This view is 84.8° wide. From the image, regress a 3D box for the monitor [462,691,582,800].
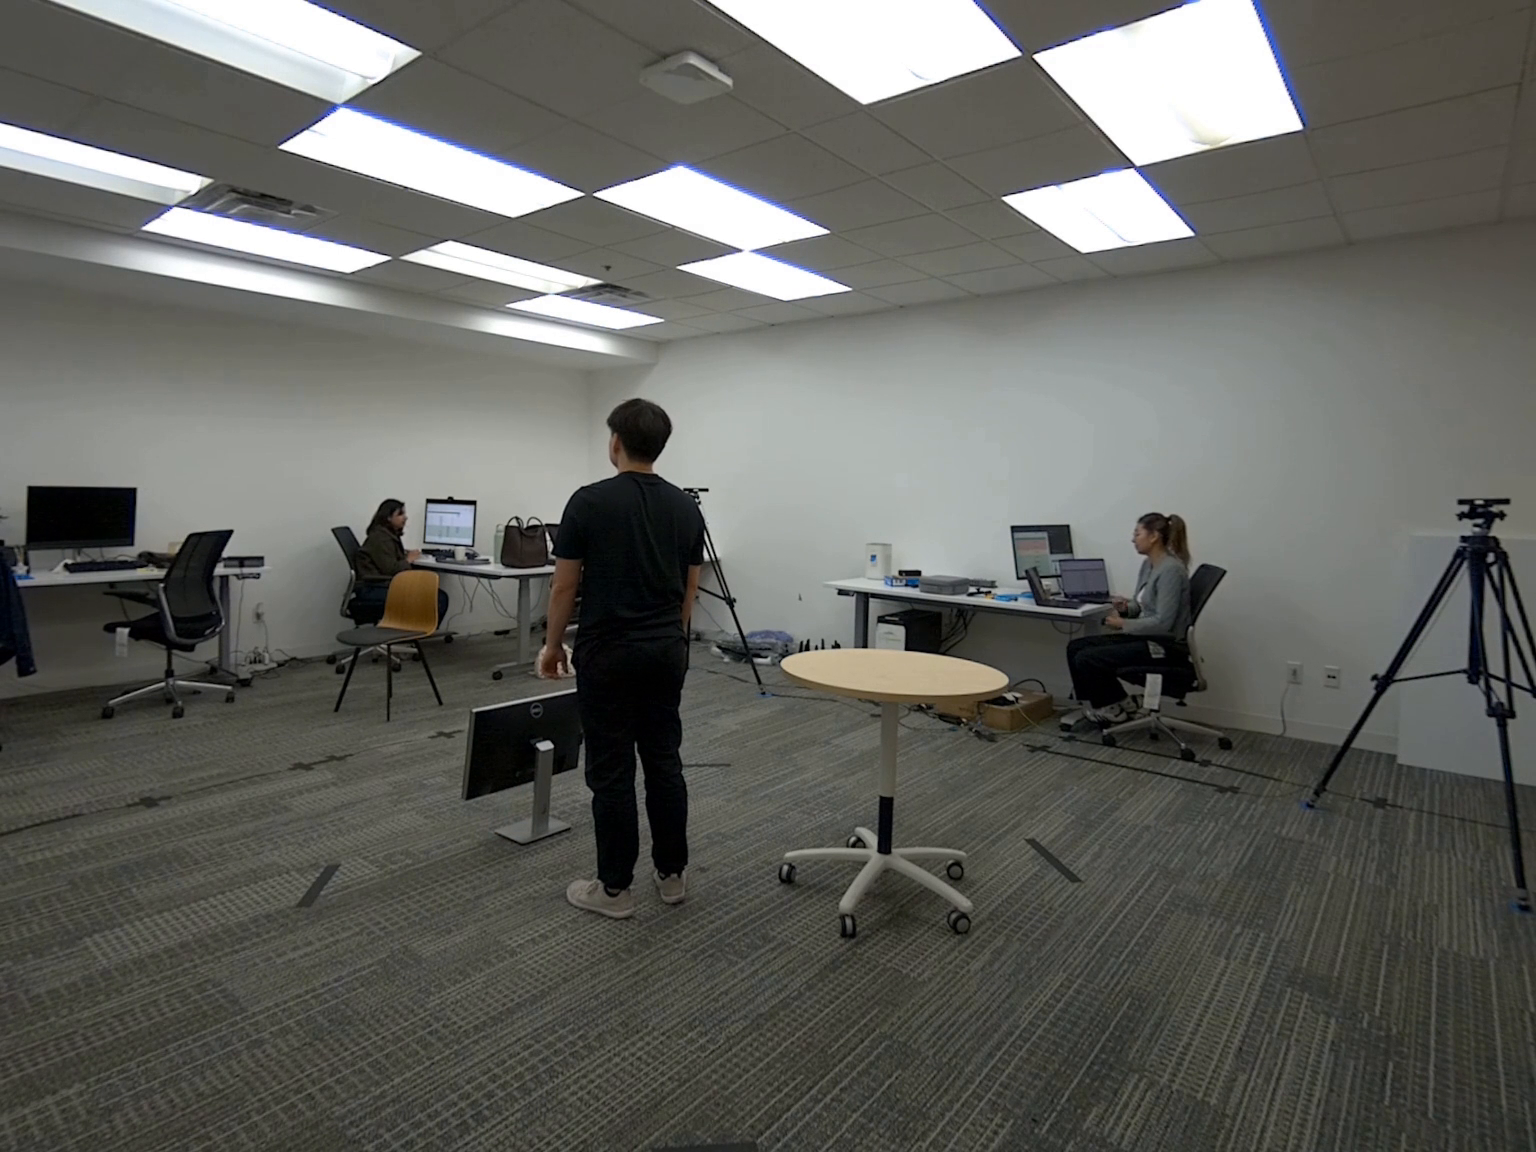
[{"bbox_3d":[-0.964,0.764,3.423,0.193,0.522,0.523,-1,2,37],"label":"monitor"}]
